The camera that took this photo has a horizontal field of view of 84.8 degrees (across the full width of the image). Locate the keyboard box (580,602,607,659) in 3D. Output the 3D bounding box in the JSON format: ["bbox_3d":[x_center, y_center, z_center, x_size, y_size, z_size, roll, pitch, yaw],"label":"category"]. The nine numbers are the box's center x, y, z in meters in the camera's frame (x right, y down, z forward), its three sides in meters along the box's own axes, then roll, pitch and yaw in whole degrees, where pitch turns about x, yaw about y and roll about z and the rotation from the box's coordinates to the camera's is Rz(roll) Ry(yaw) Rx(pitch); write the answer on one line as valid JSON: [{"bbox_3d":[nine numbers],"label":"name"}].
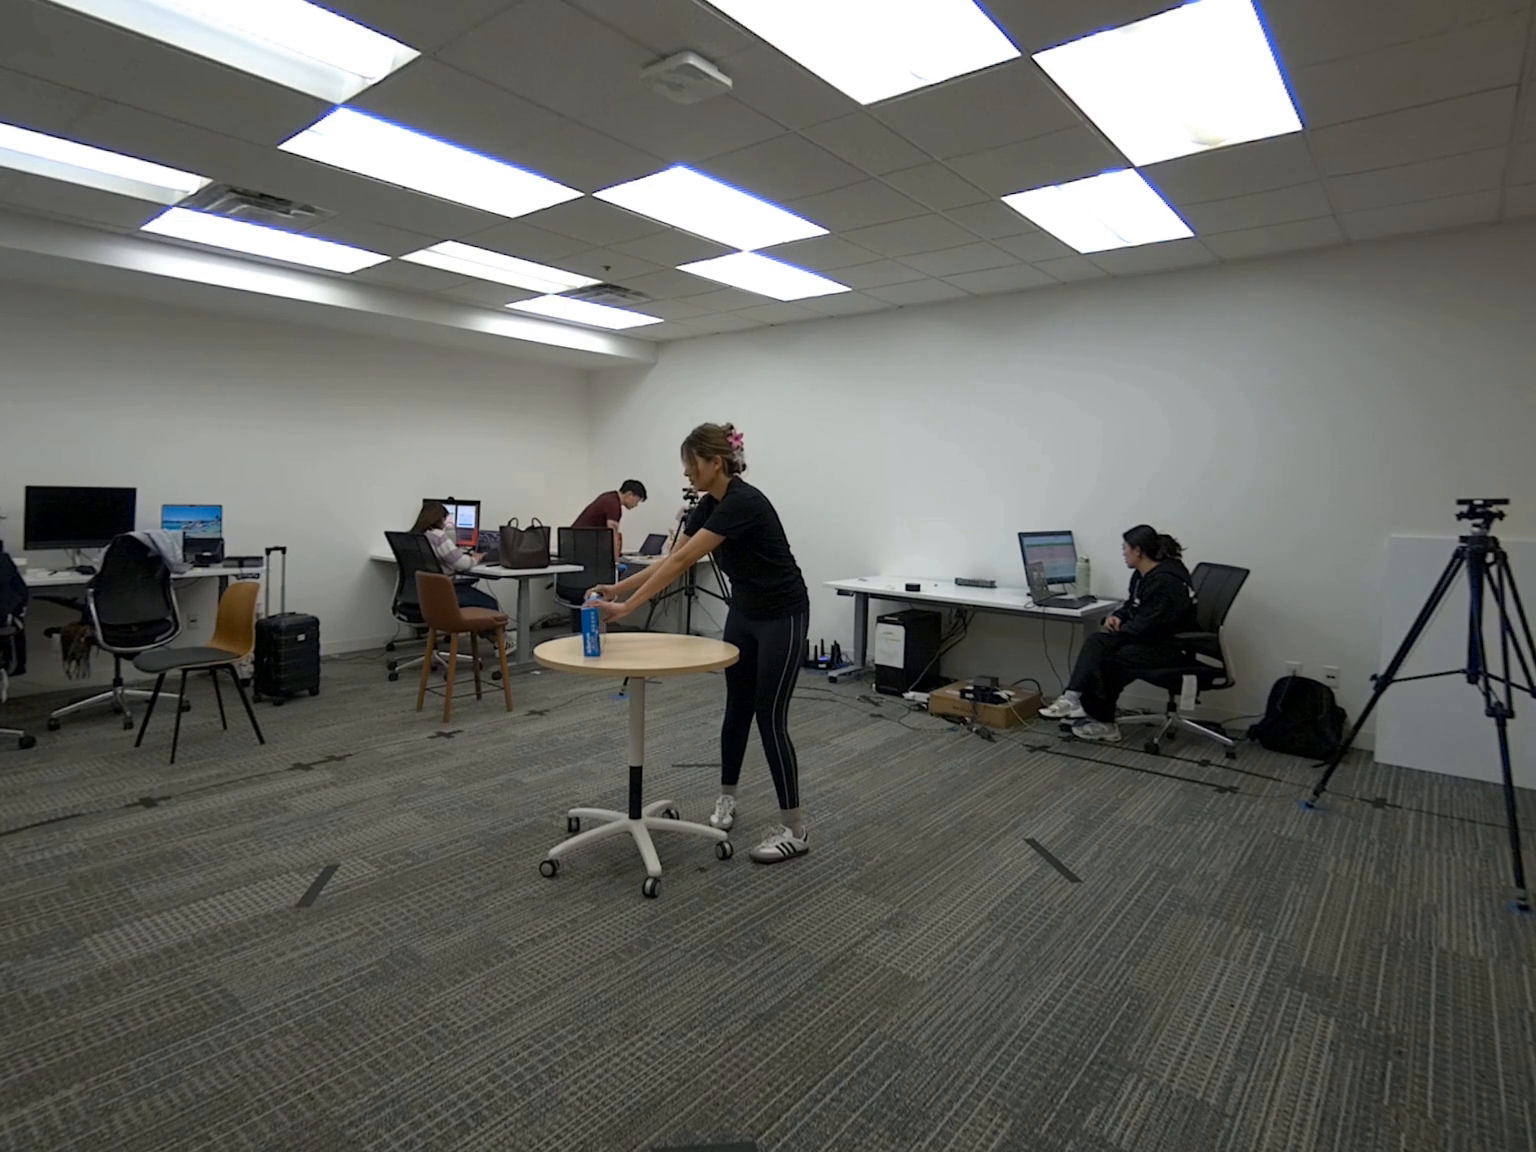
[{"bbox_3d":[-0.671,0.177,3.236,0.059,0.175,0.442,-6,7,-9],"label":"keyboard box"}]
